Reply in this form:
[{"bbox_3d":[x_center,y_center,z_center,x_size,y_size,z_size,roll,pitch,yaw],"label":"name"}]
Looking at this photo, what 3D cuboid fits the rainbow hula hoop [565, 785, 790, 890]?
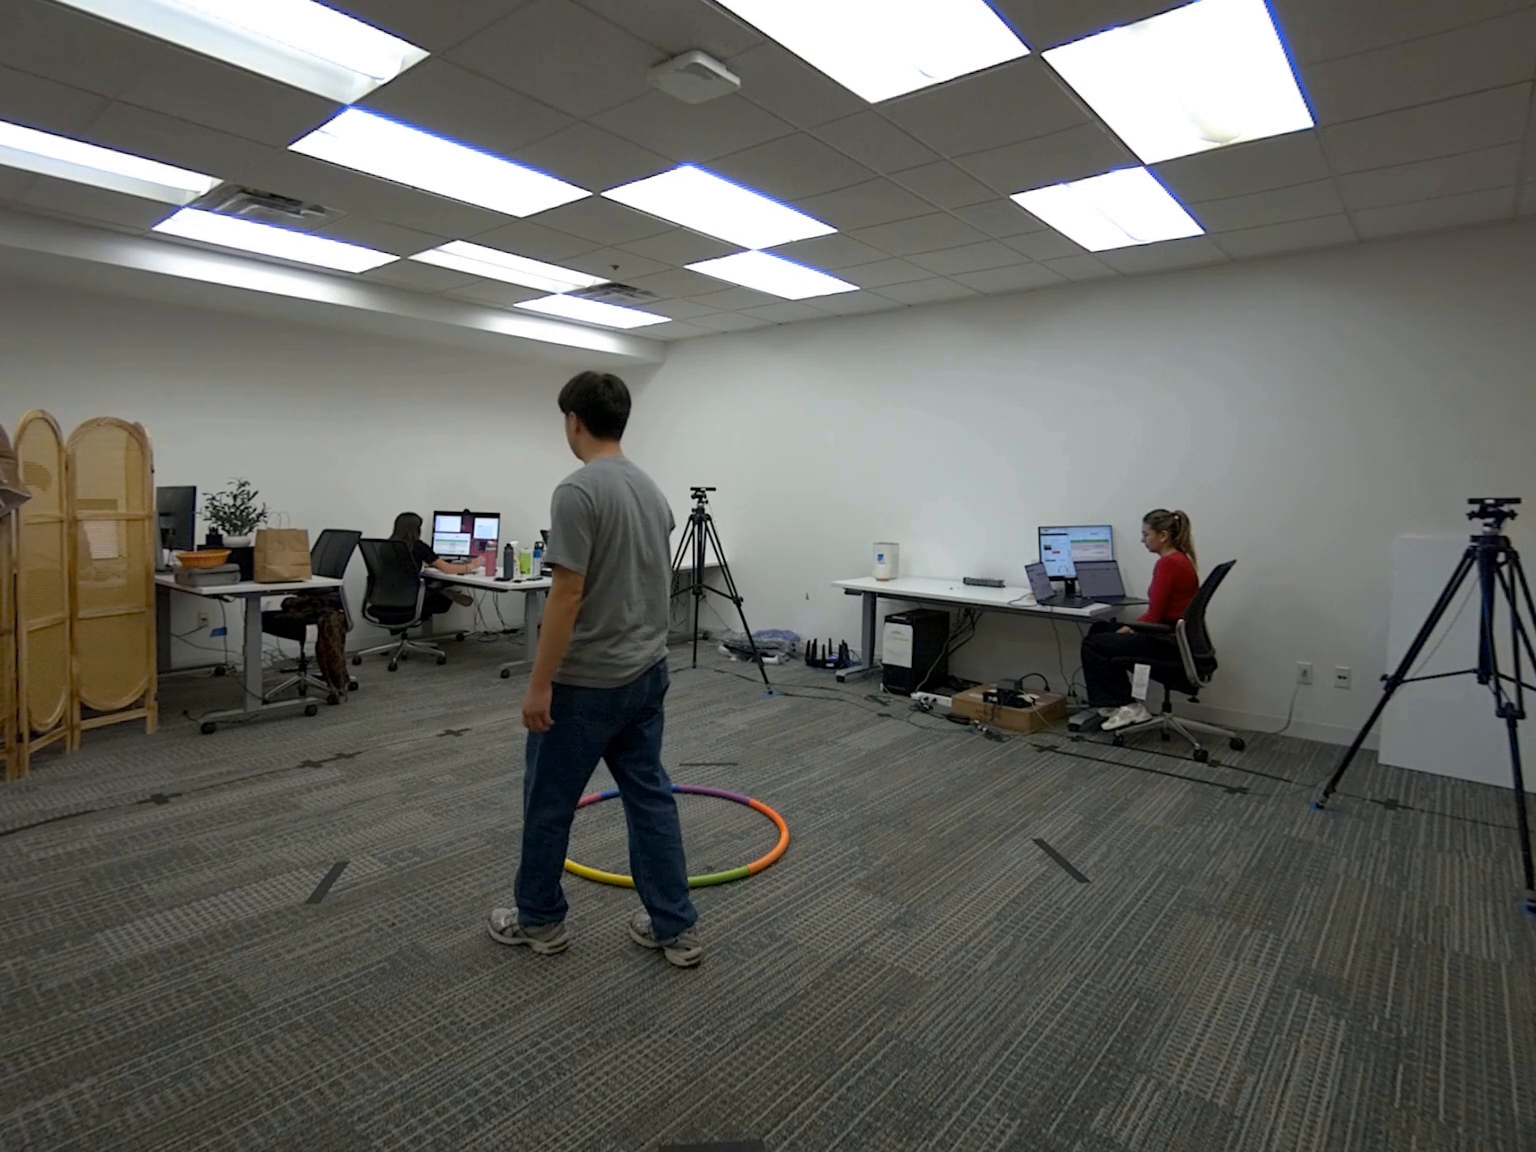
[{"bbox_3d":[-0.415,1.002,3.402,0.978,0.035,0.984,1,6,-2],"label":"rainbow hula hoop"}]
